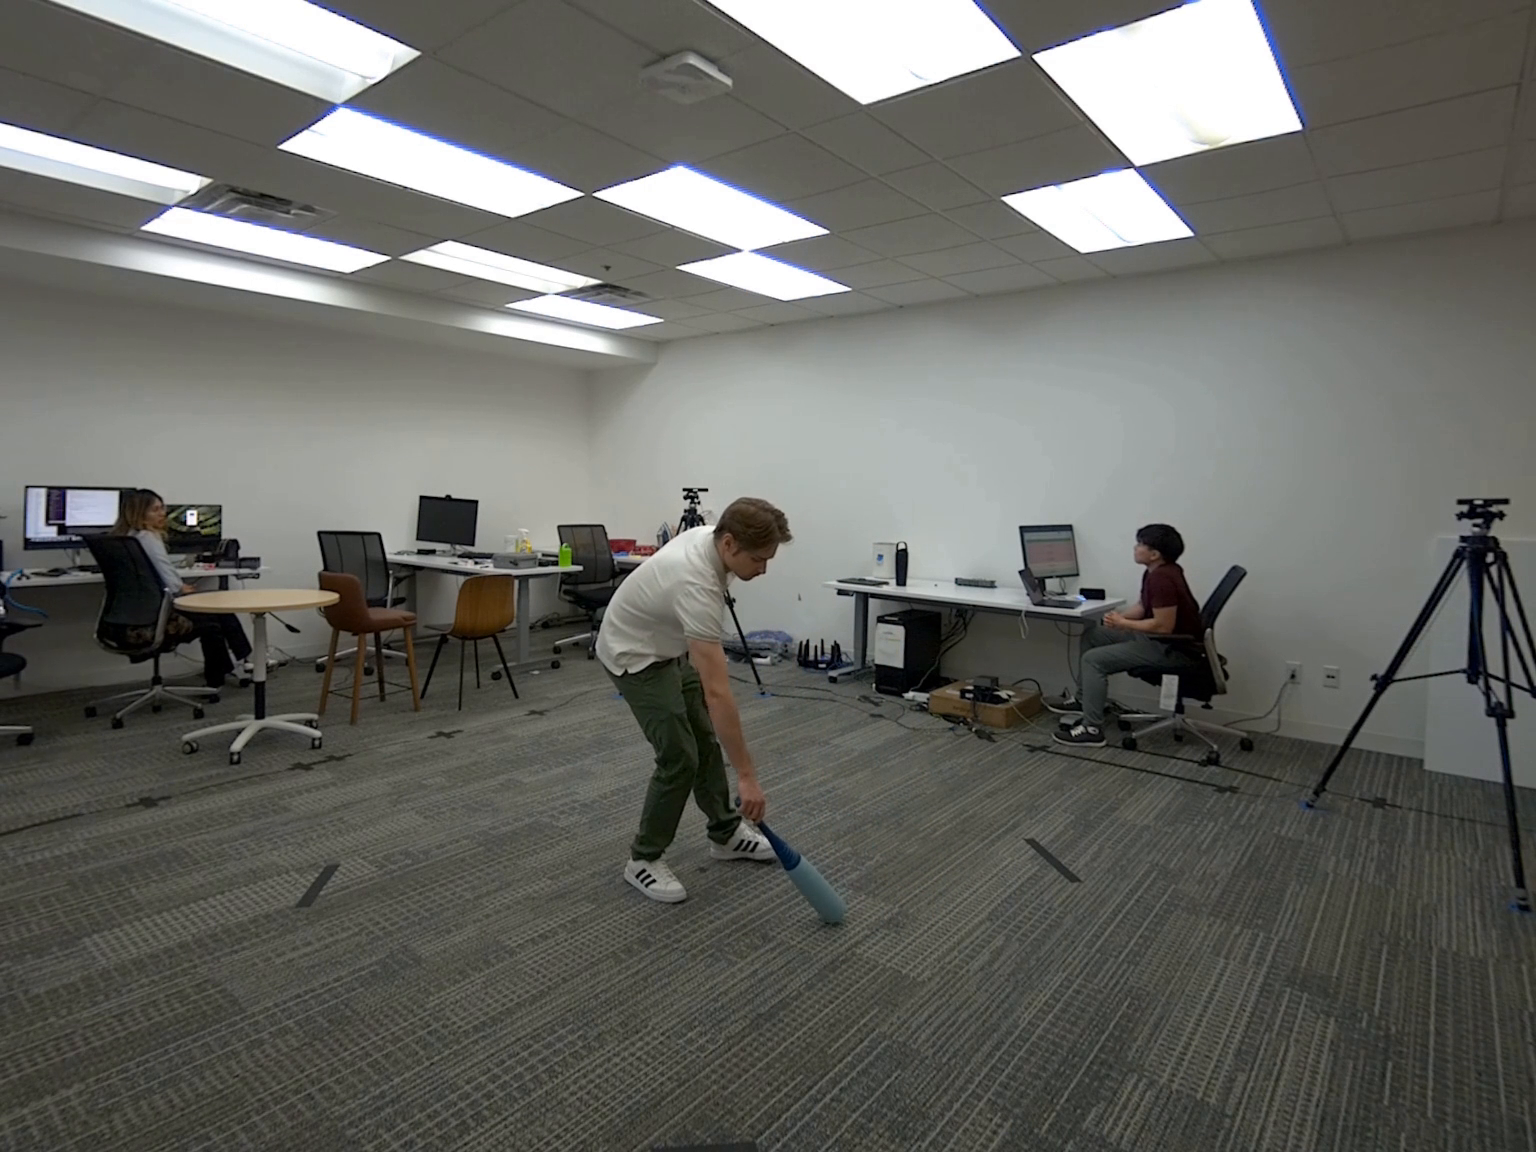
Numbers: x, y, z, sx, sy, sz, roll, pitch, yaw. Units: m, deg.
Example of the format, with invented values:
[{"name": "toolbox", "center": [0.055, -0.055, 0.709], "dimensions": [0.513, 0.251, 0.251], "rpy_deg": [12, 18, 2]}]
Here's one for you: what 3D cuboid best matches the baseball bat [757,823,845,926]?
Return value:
[{"name": "baseball bat", "center": [0.058, 0.895, 2.691], "dimensions": [0.089, 0.531, 0.091], "rpy_deg": [-35, 16, 11]}]
